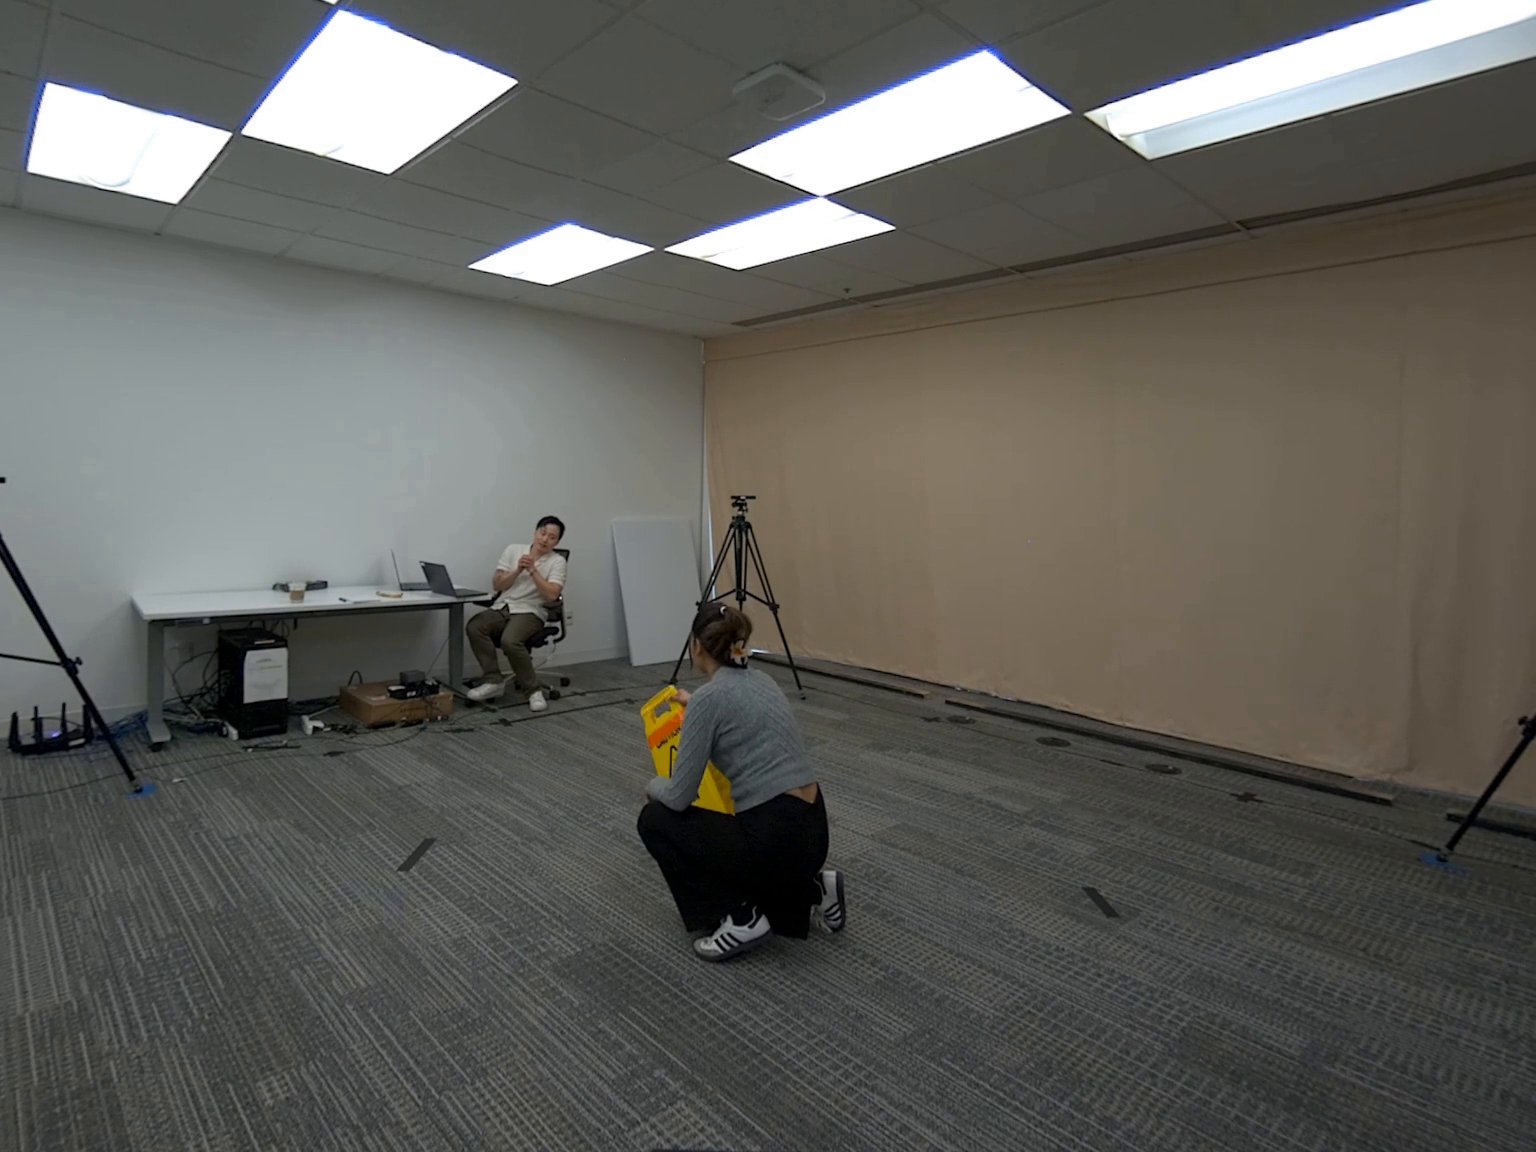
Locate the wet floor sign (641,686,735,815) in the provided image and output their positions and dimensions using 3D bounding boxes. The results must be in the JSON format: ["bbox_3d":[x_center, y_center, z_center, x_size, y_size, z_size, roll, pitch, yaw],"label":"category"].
[{"bbox_3d":[-0.289,0.756,3.276,0.283,0.658,0.283,-40,-21,27],"label":"wet floor sign"}]
